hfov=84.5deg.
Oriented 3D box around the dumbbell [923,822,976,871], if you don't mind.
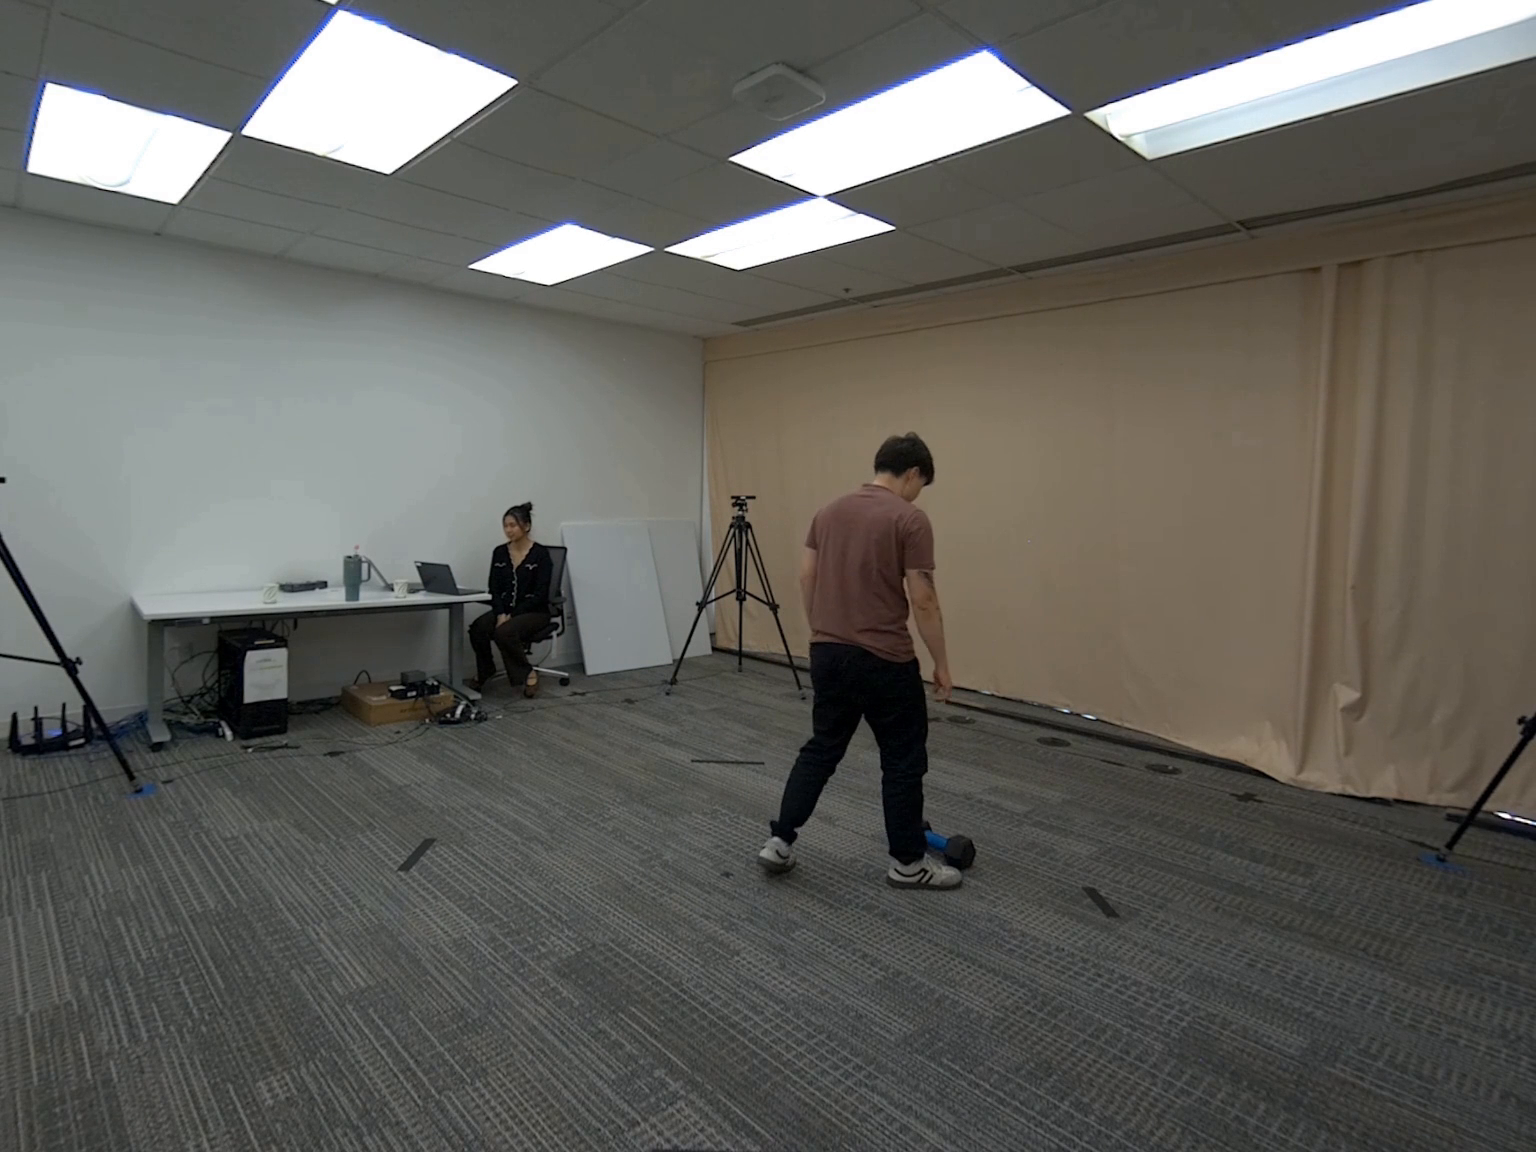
[{"bbox_3d":[0.660,1.049,3.316,0.120,0.108,0.301,-1,6,-38],"label":"dumbbell"}]
